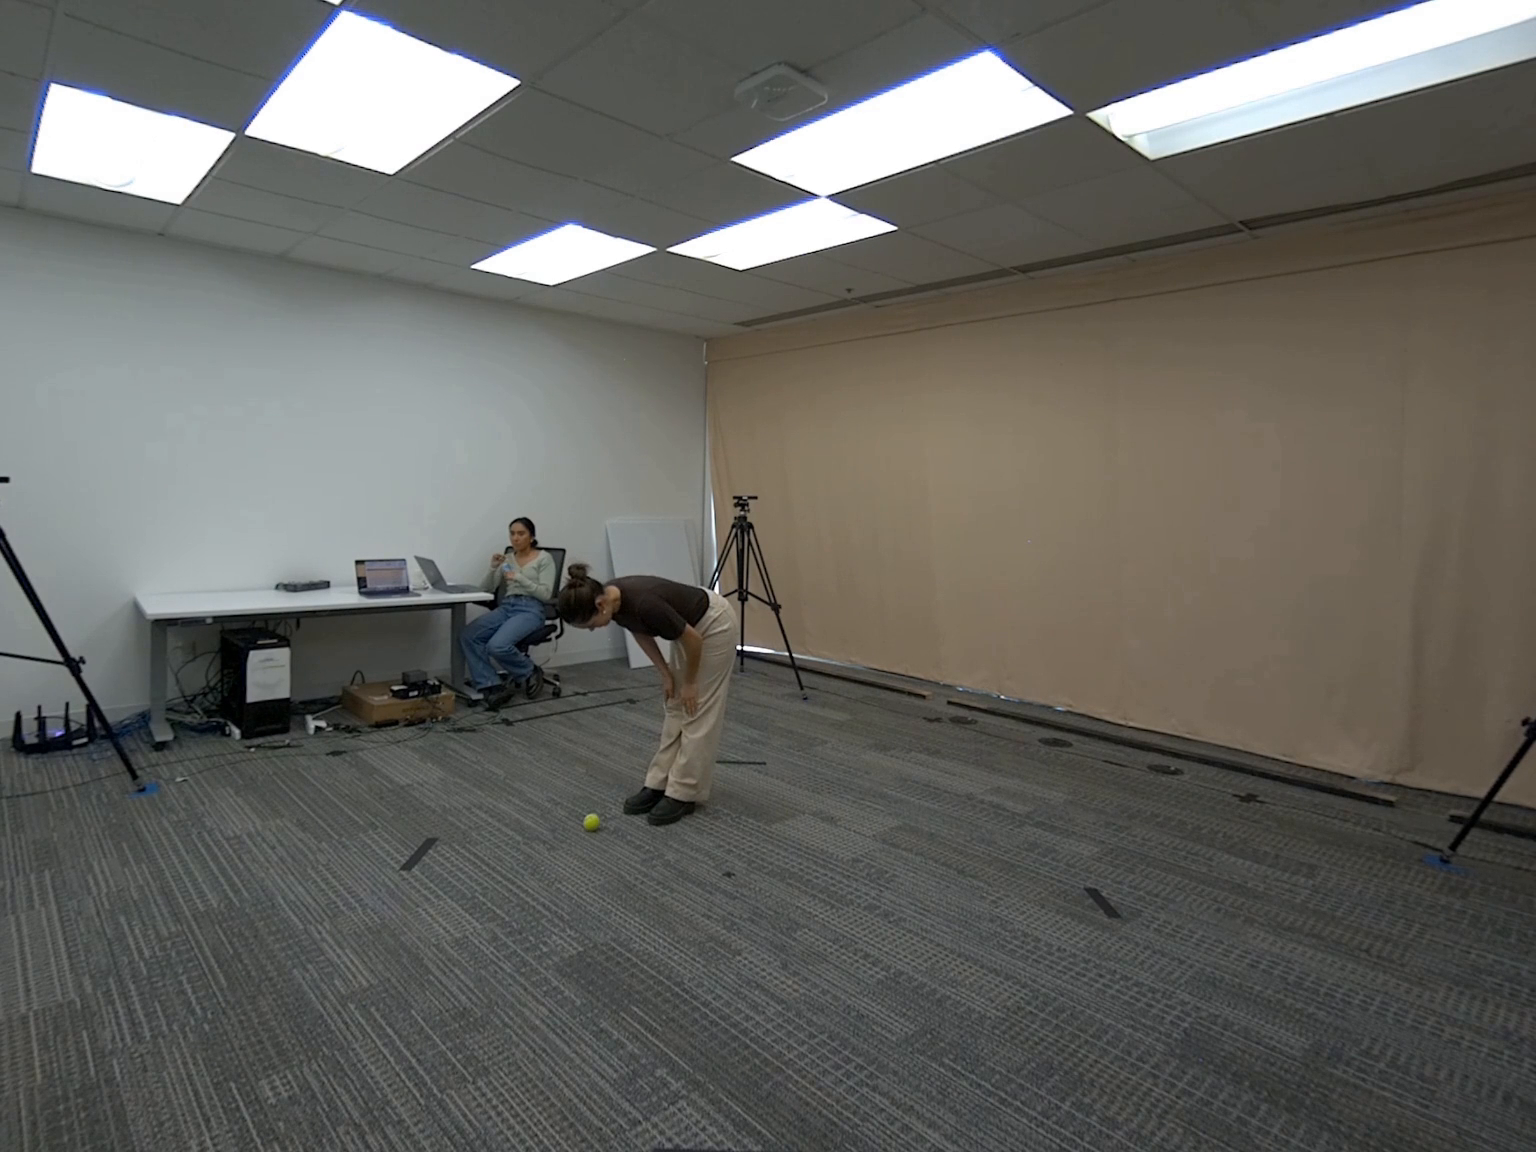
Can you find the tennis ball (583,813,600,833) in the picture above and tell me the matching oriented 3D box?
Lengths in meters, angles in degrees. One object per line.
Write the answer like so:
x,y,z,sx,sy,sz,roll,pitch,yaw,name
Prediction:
-0.735,1.019,3.482,0.066,0.066,0.067,1,4,-1,tennis ball
